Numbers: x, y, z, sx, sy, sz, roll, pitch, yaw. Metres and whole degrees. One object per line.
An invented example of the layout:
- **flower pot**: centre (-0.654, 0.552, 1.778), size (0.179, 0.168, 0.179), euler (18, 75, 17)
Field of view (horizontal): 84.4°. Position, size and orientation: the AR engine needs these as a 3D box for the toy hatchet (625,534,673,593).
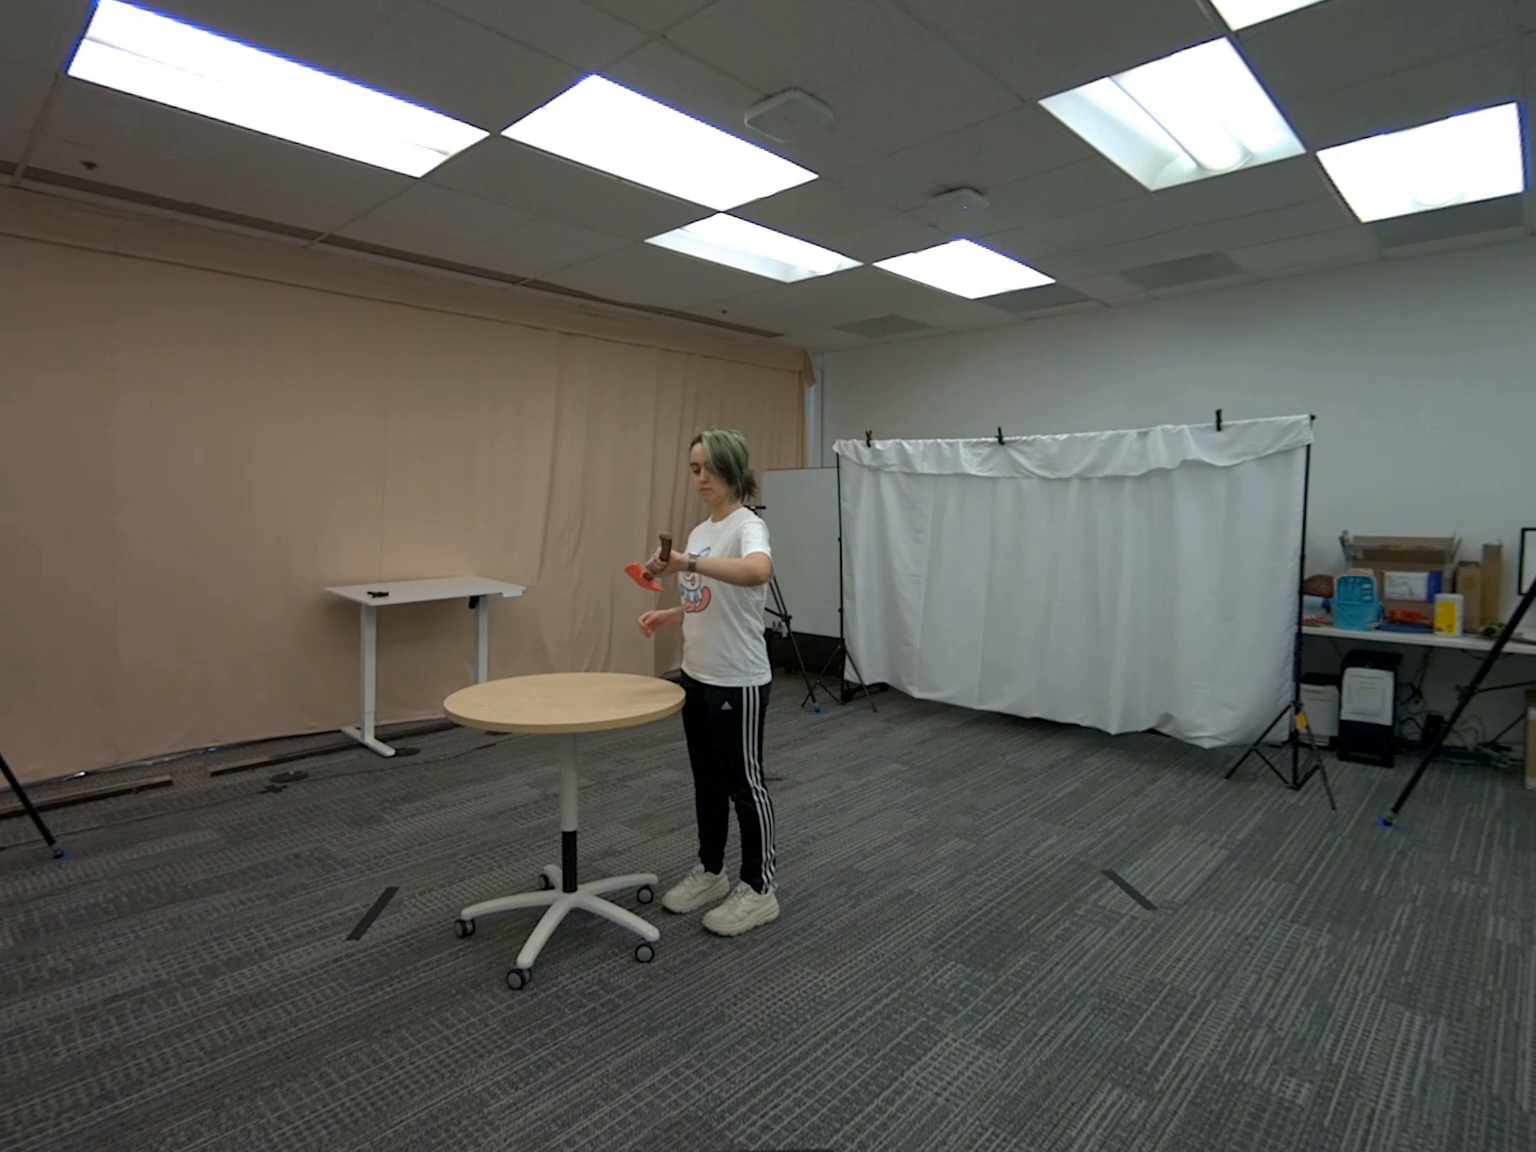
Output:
- **toy hatchet**: centre (-0.340, -0.047, 2.458), size (0.132, 0.029, 0.267), euler (23, -39, 6)
